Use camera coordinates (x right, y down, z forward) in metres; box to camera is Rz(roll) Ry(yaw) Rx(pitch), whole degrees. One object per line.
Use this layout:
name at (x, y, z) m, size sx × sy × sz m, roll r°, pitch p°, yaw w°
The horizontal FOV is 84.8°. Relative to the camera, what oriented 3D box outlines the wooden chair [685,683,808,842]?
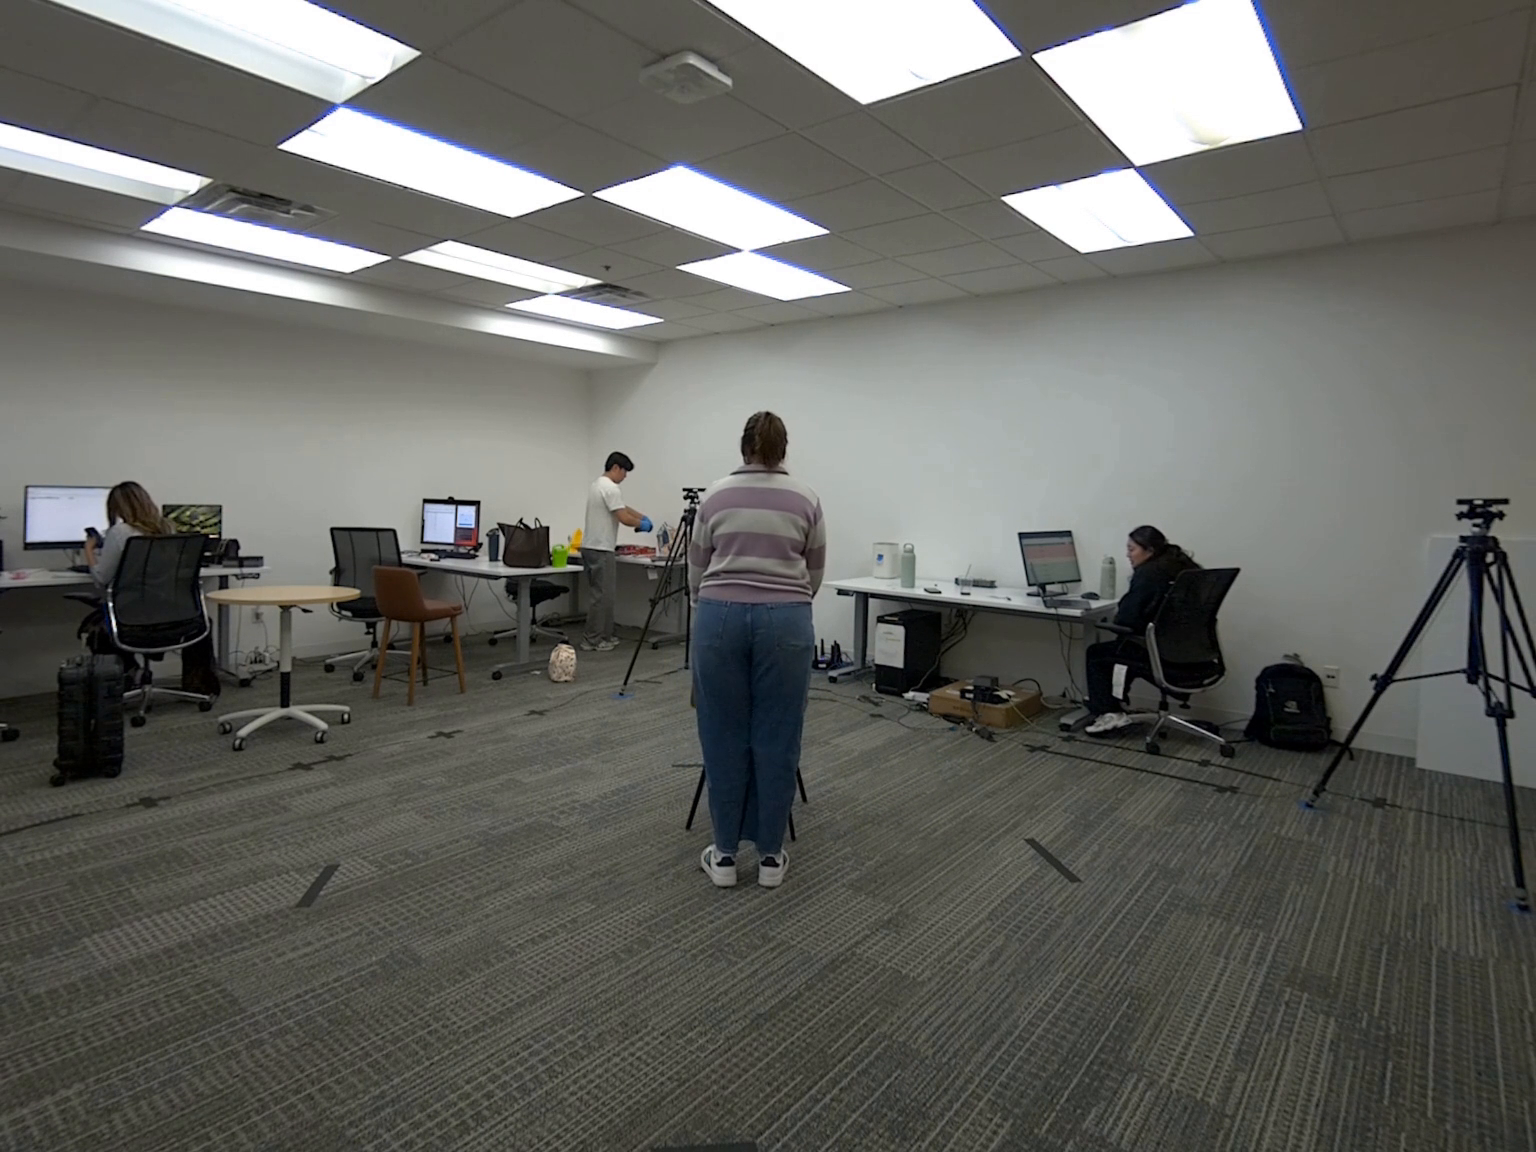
wooden chair at (-0.088, 0.585, 3.620) m, size 0.484 × 0.871 × 0.520 m, roll 1°, pitch 8°, yaw 10°
